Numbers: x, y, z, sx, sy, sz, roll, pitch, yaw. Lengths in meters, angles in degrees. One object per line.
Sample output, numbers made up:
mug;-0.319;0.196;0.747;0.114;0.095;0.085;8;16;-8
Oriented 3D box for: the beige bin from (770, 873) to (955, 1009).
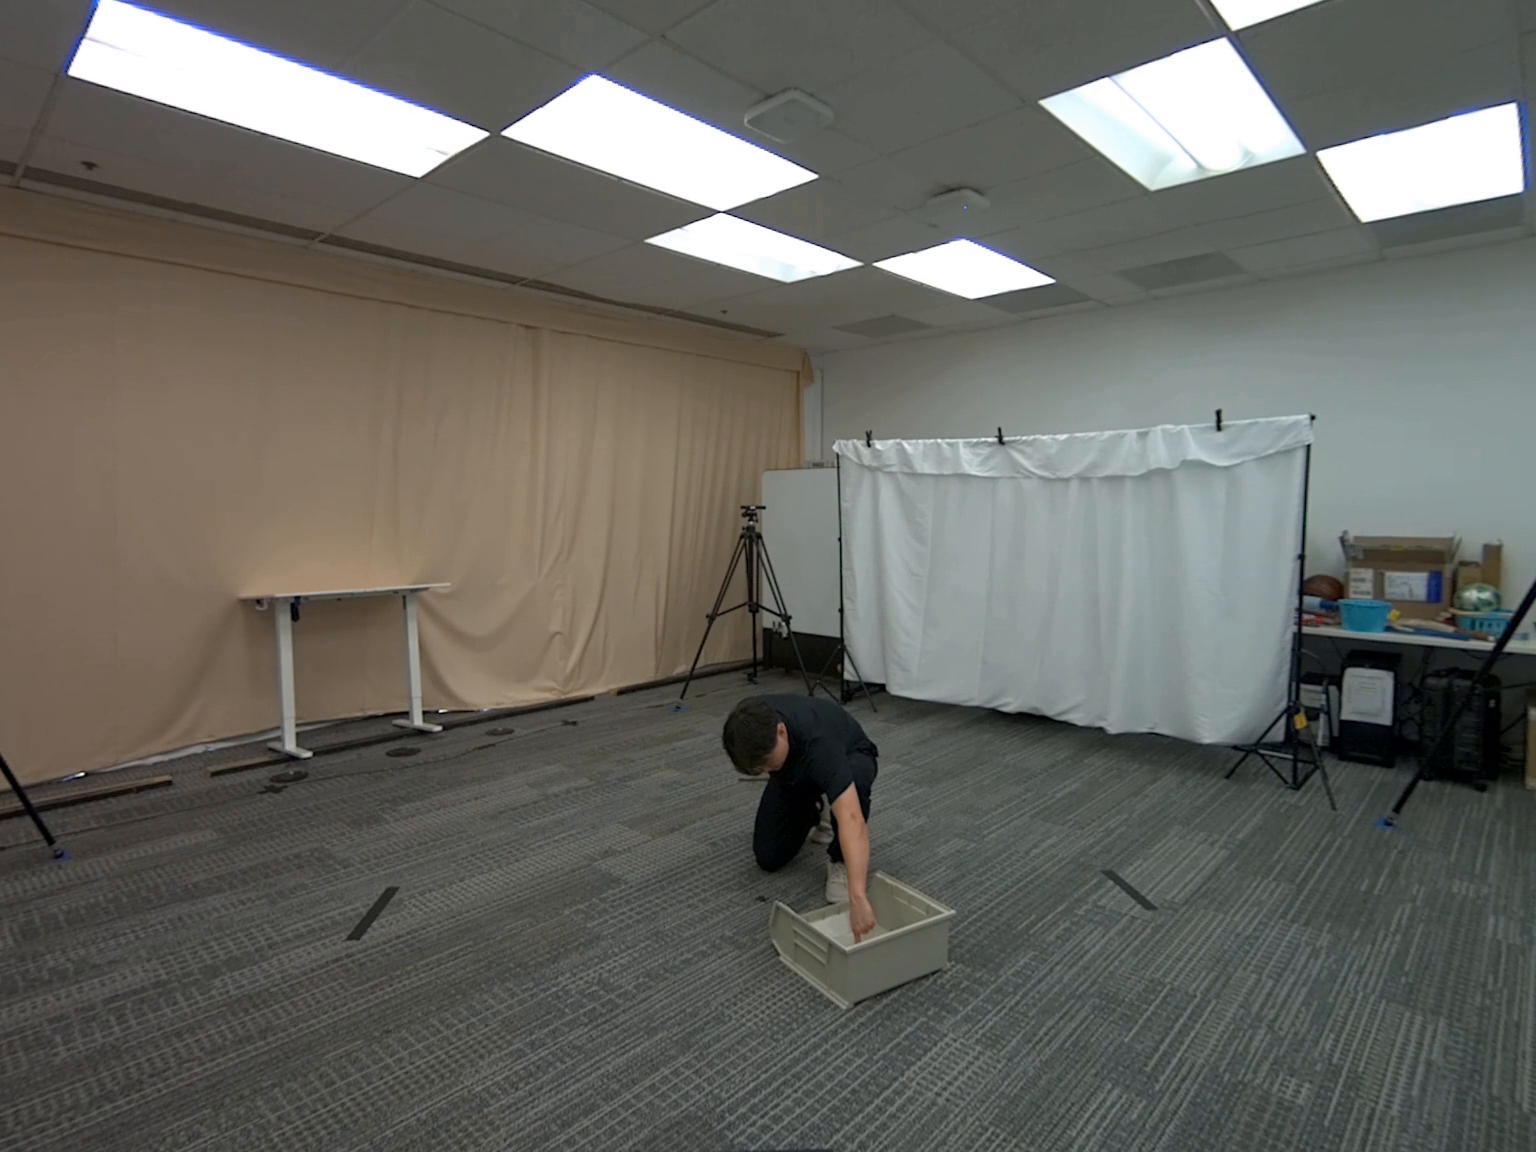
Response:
beige bin;0.280;1.083;2.574;0.410;0.188;0.389;-2;5;-33
